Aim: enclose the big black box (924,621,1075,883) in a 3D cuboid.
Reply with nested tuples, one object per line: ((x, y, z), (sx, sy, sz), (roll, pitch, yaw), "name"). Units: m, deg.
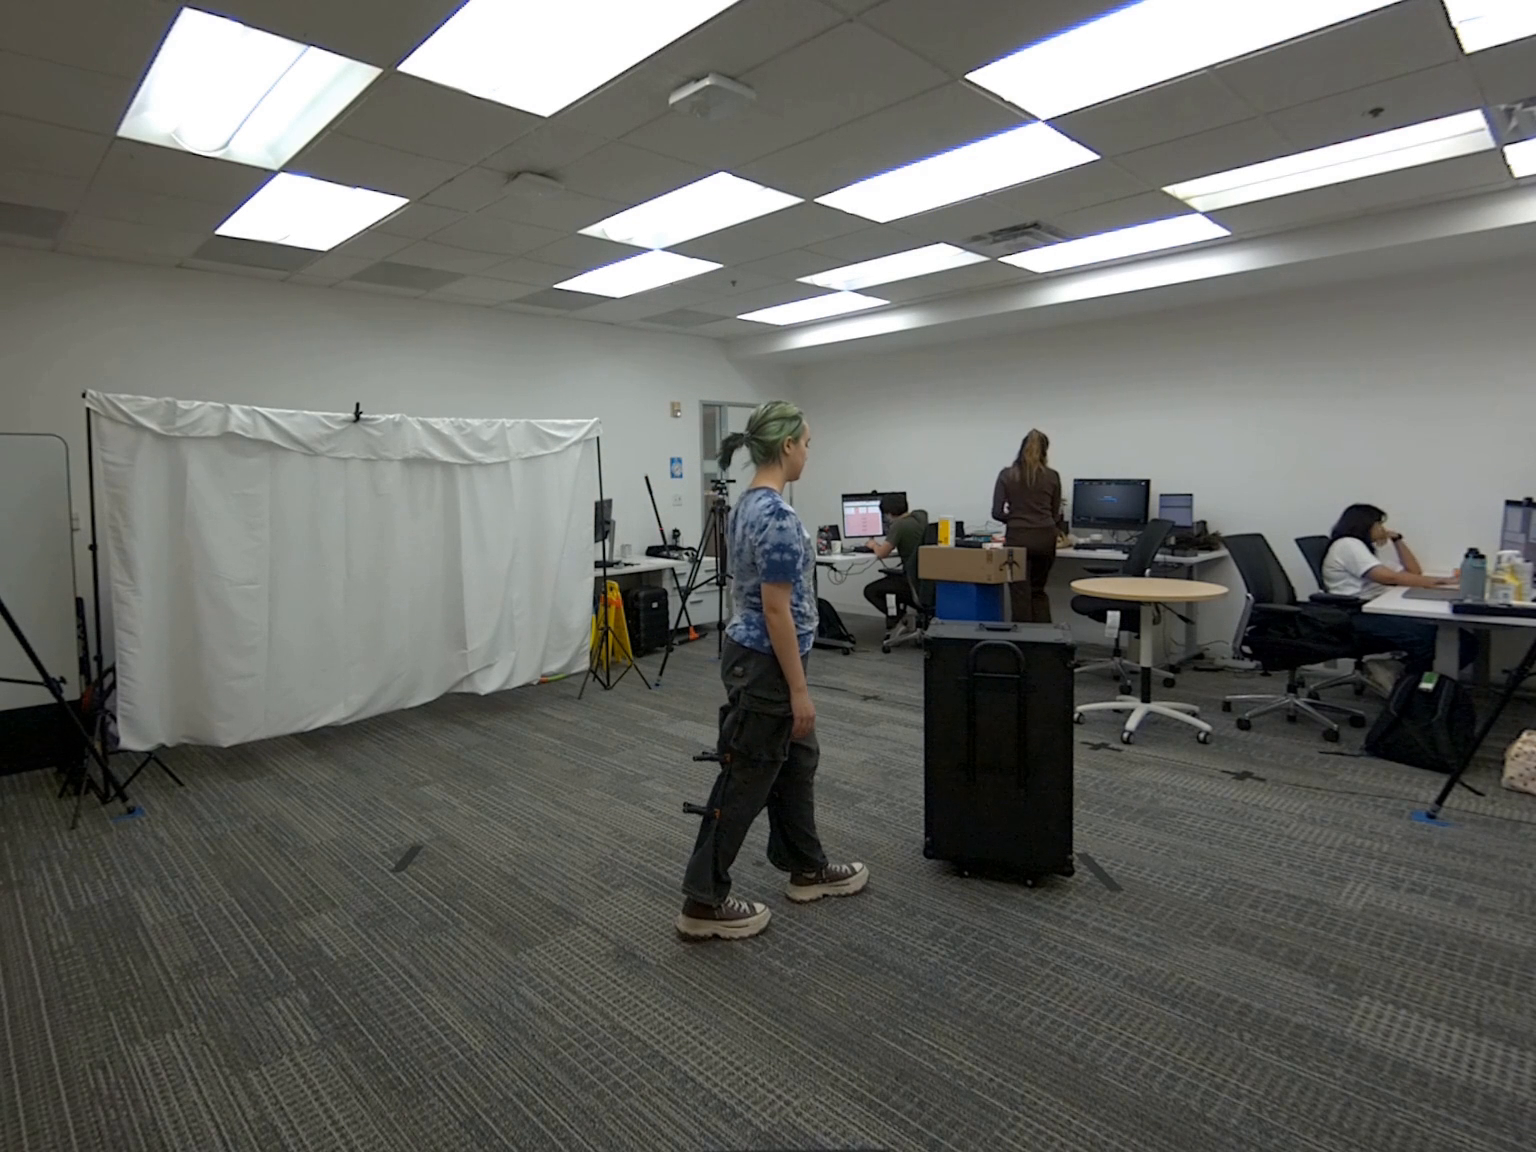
((0.821, 0.614, 3.022), (0.530, 0.858, 0.391), (1, 5, 18), "big black box")
